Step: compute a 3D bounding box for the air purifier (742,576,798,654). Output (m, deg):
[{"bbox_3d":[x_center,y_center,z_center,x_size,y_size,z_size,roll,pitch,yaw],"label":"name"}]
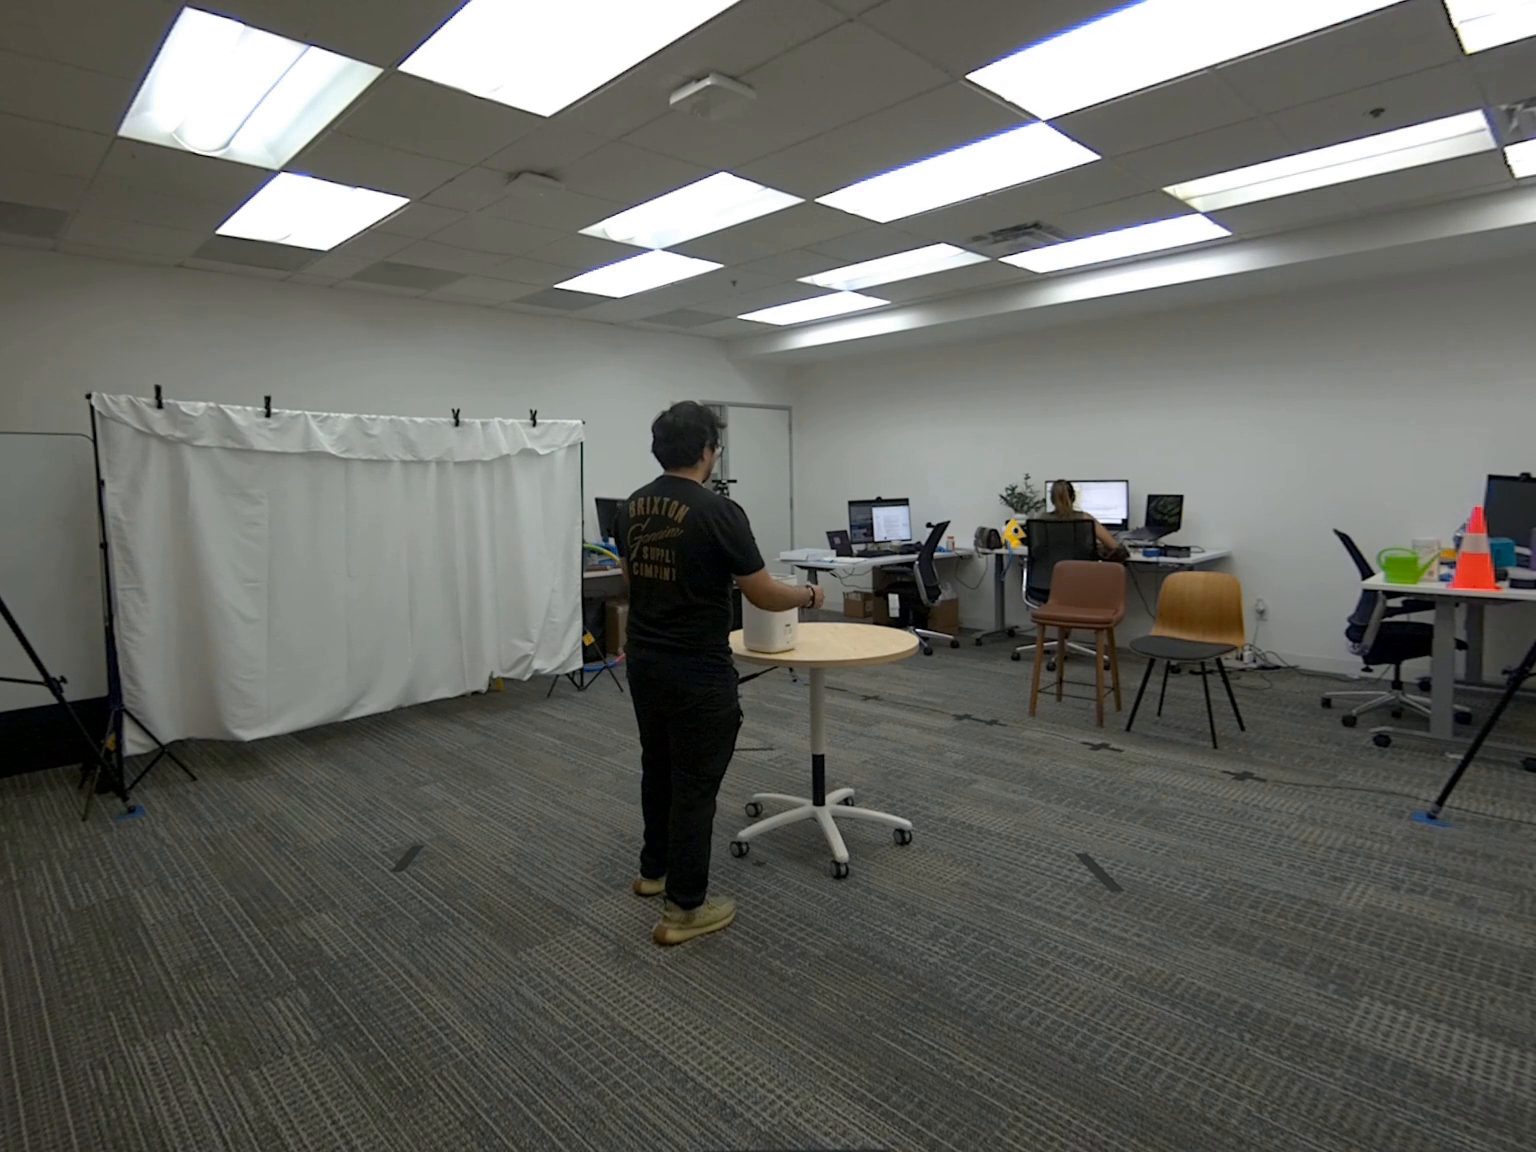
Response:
[{"bbox_3d":[0.011,0.132,3.082,0.166,0.264,0.177,-6,5,-44],"label":"air purifier"}]
